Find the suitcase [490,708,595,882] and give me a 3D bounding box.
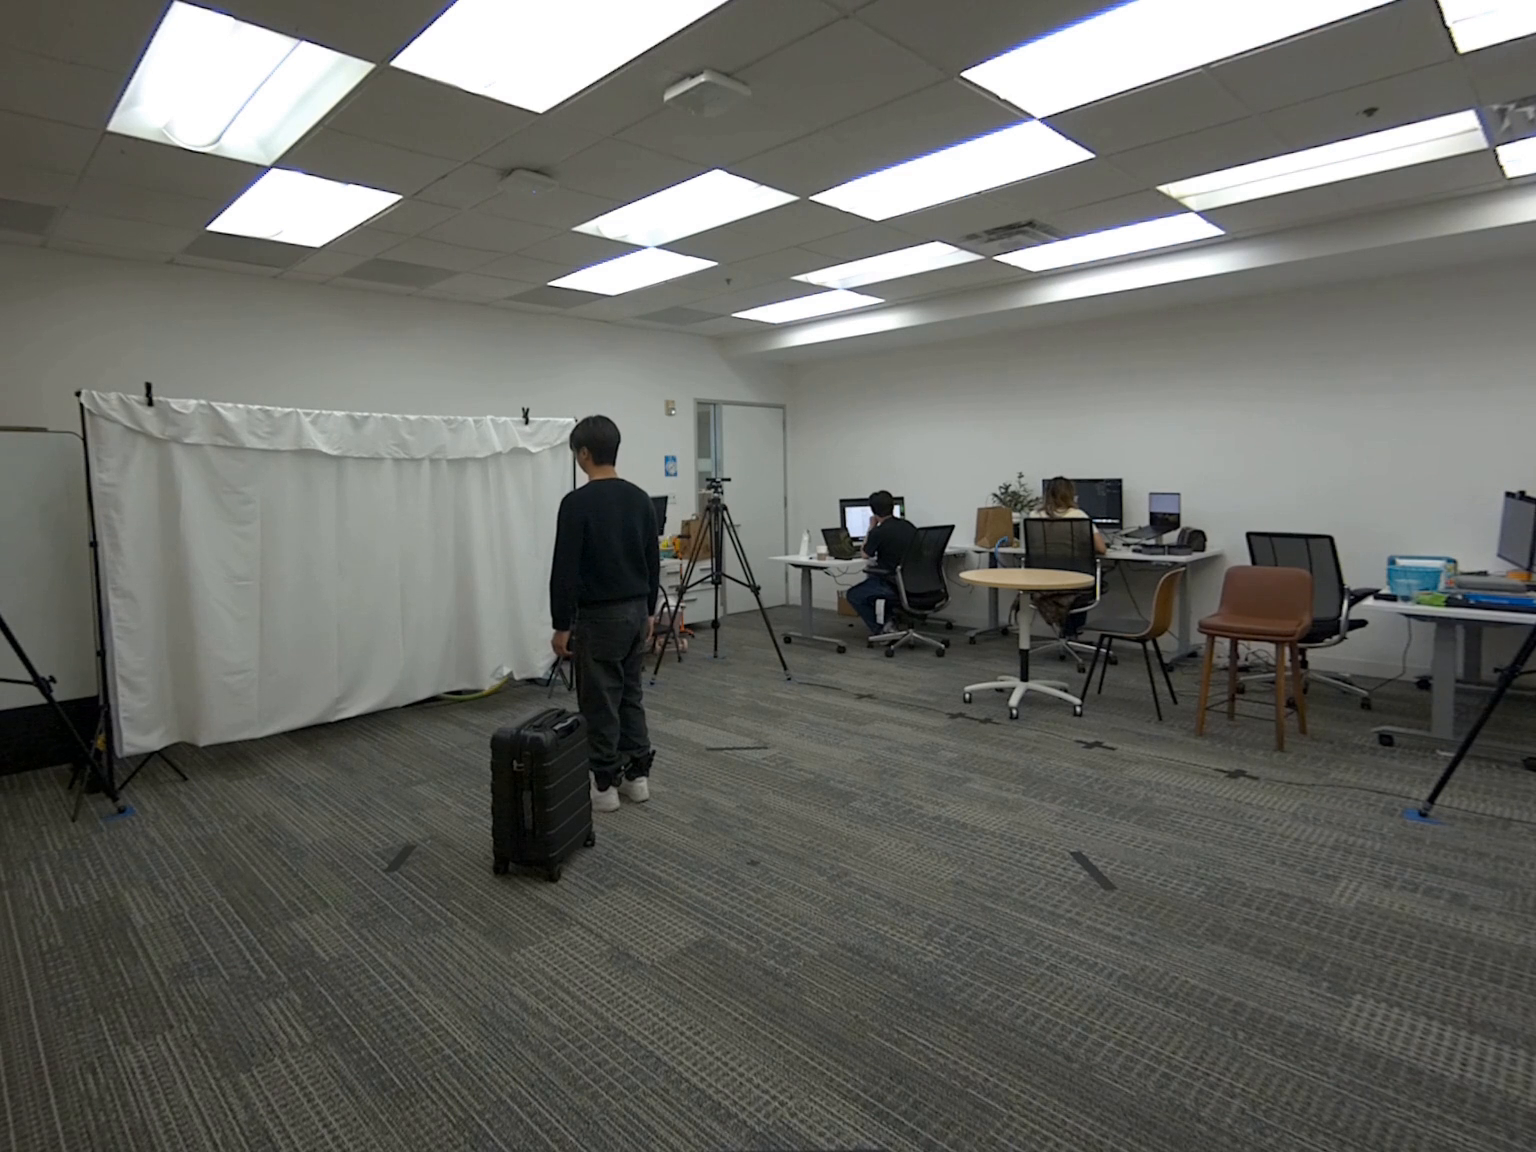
[{"bbox_3d":[-0.834,0.785,3.137,0.252,0.546,0.371,1,6,15],"label":"suitcase"}]
